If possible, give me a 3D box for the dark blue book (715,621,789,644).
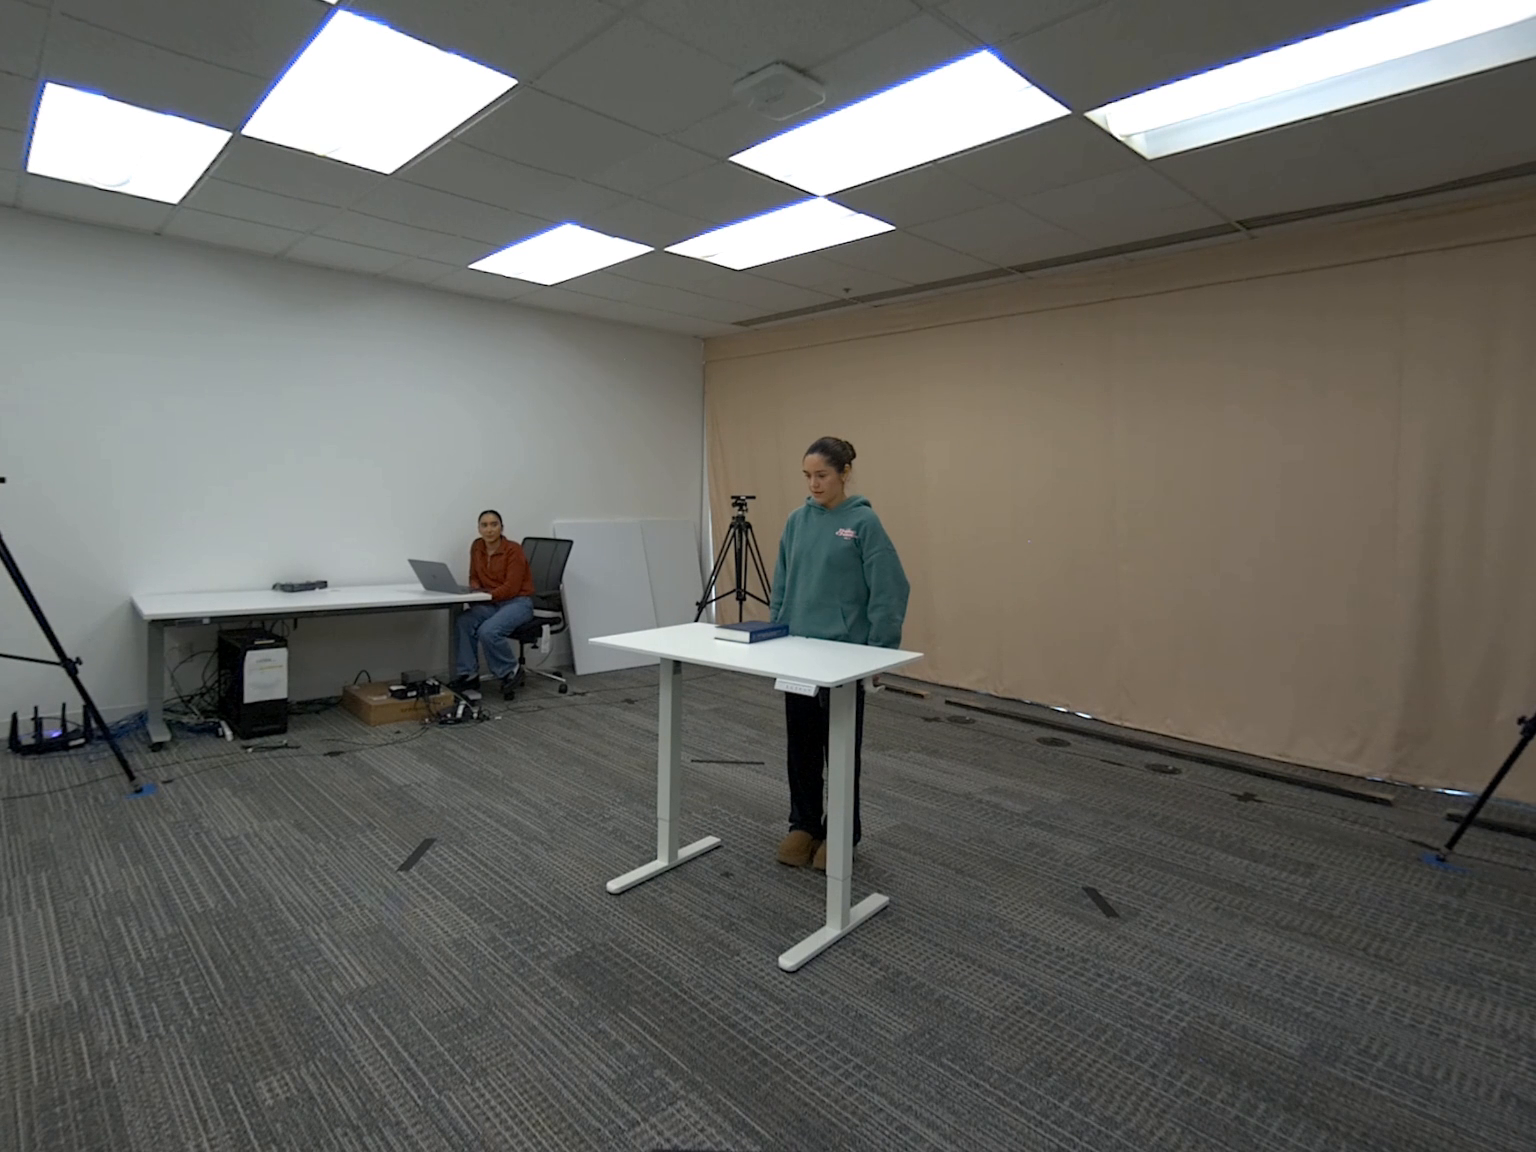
[{"bbox_3d":[-0.065,0.205,3.078,0.167,0.045,0.240,5,6,34],"label":"dark blue book"}]
